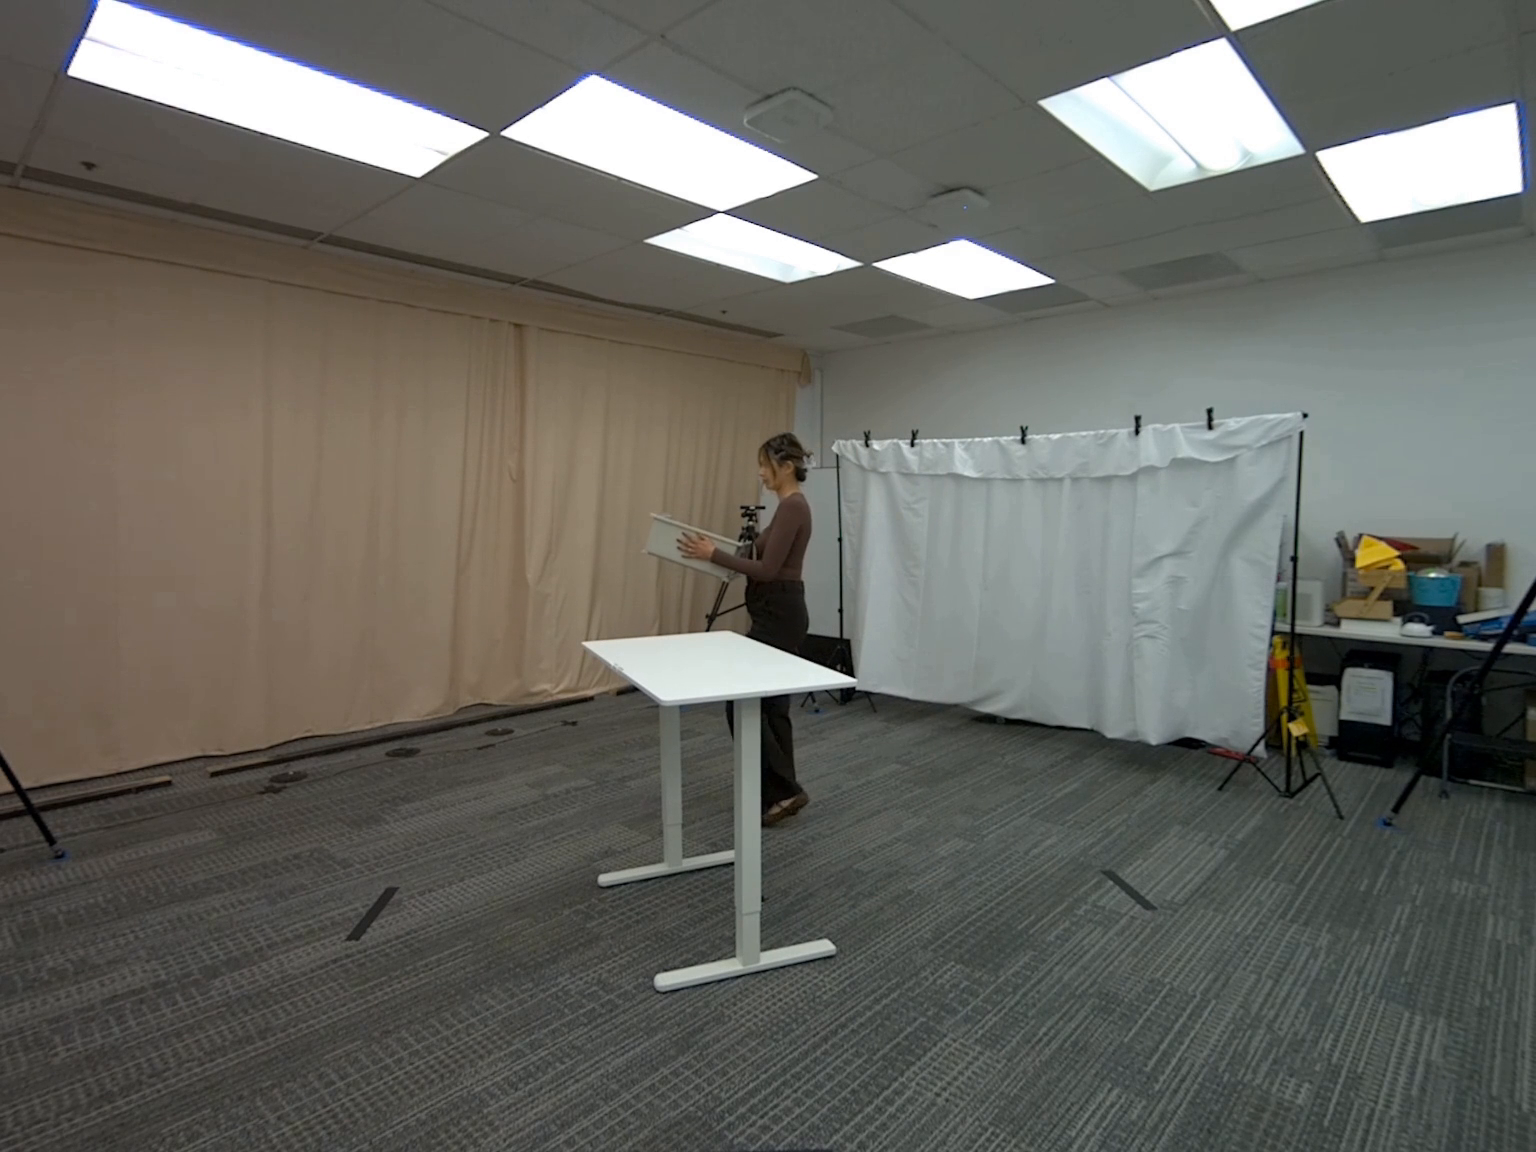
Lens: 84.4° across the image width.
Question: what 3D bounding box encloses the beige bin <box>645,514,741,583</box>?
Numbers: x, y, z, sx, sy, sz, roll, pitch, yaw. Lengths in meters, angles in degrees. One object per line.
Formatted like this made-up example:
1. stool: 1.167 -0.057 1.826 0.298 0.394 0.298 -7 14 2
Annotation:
1. beige bin: -0.318 -0.136 3.829 0.426 0.188 0.374 19 7 7
